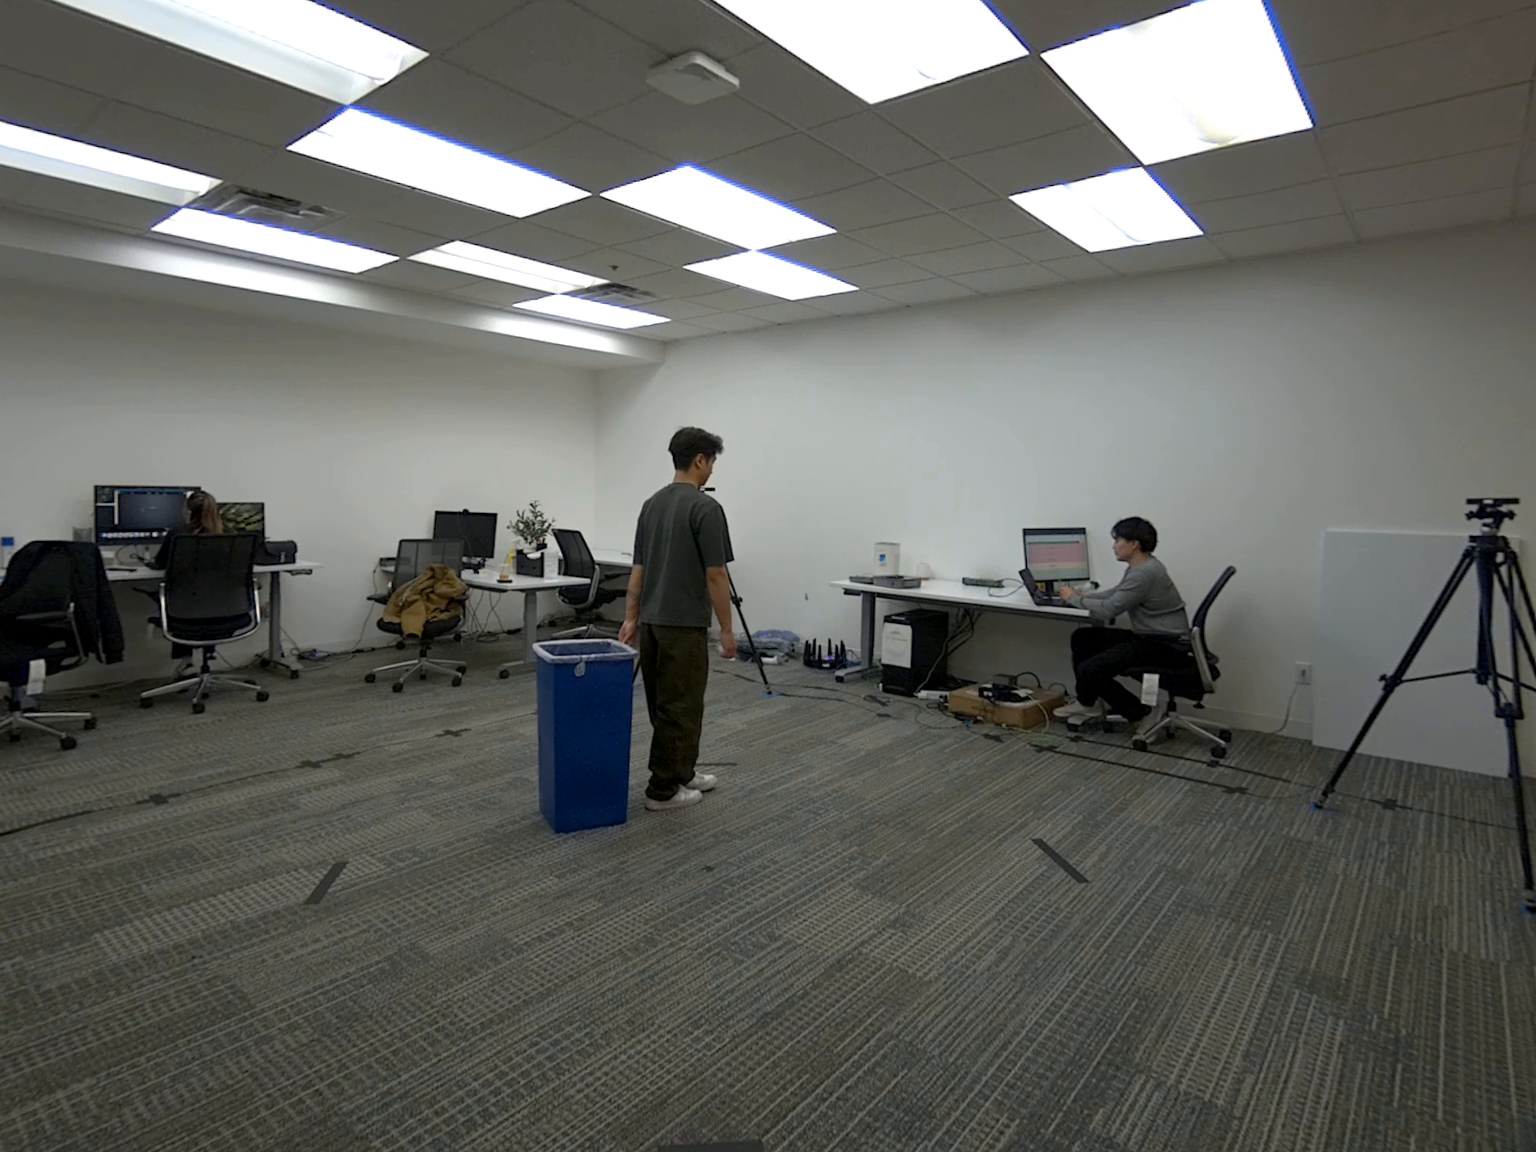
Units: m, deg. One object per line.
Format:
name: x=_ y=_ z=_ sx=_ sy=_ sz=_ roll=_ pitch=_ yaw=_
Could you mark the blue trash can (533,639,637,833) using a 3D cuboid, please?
blue trash can: x=-0.796 y=0.653 z=3.578 sx=0.369 sy=0.712 sz=0.384 roll=0 pitch=3 yaw=-27
